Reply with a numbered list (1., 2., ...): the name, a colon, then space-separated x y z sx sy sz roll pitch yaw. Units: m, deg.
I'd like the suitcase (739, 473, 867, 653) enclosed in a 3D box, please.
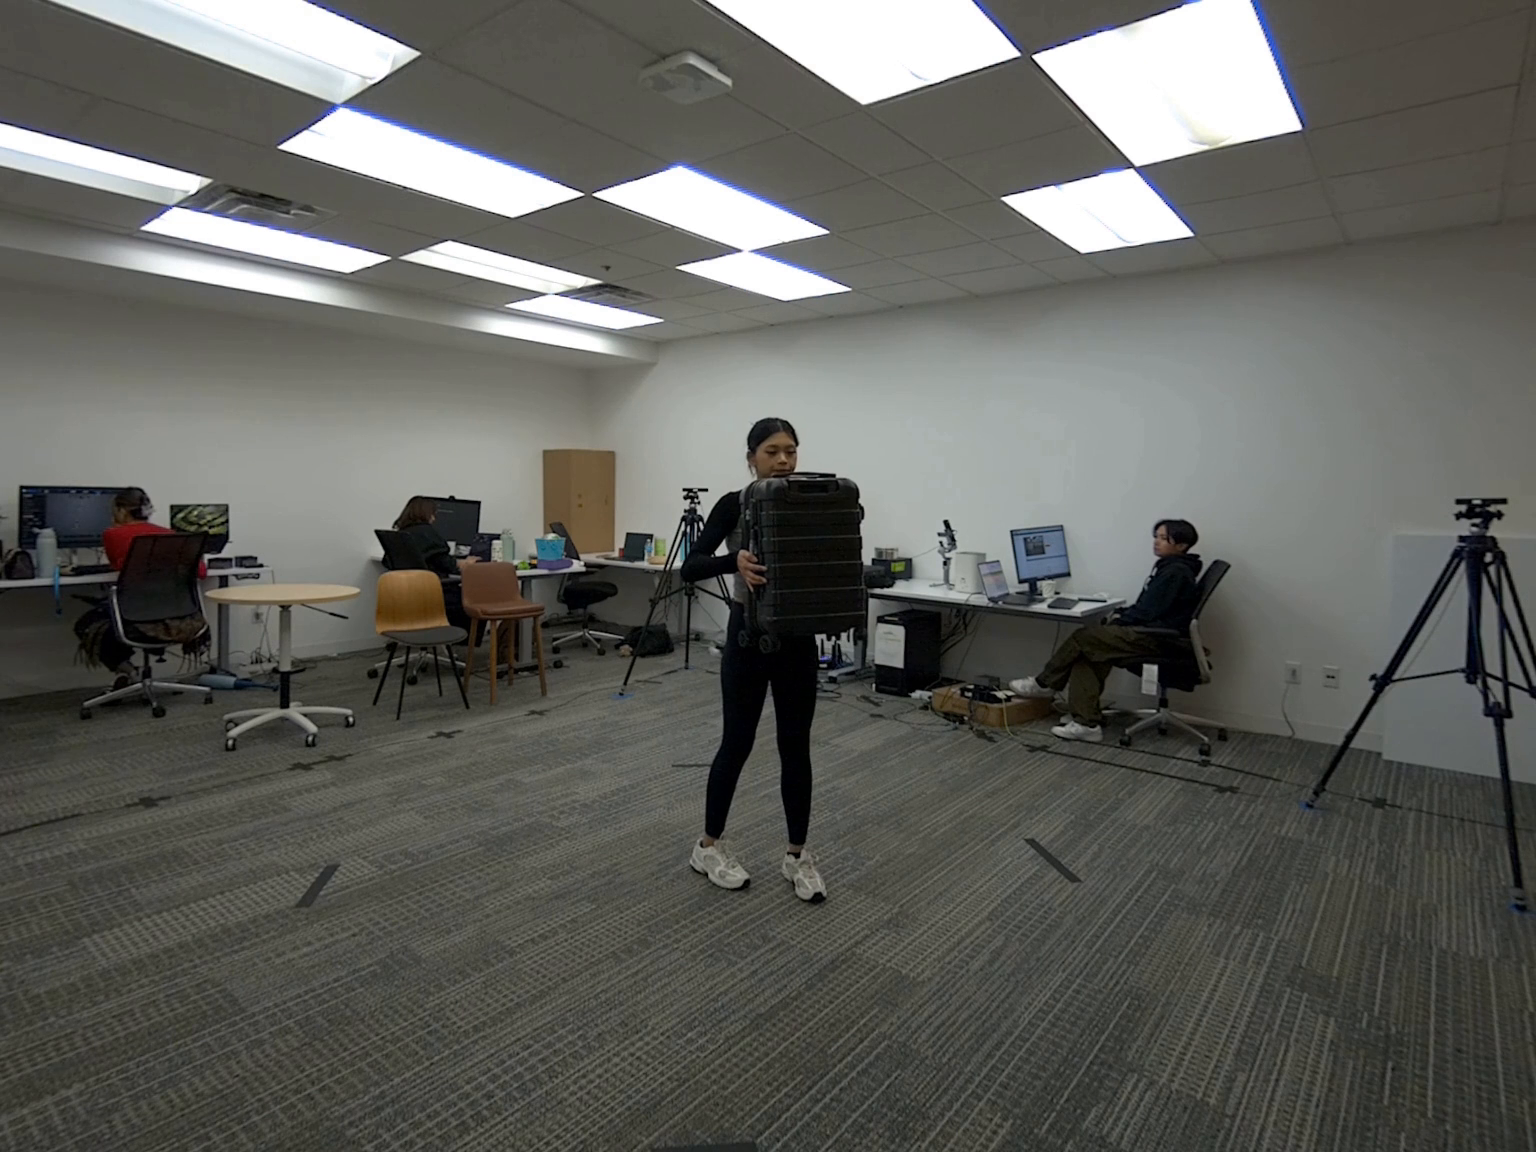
1. suitcase: 0.098 -0.059 2.737 0.369 0.549 0.253 -2 0 -18
